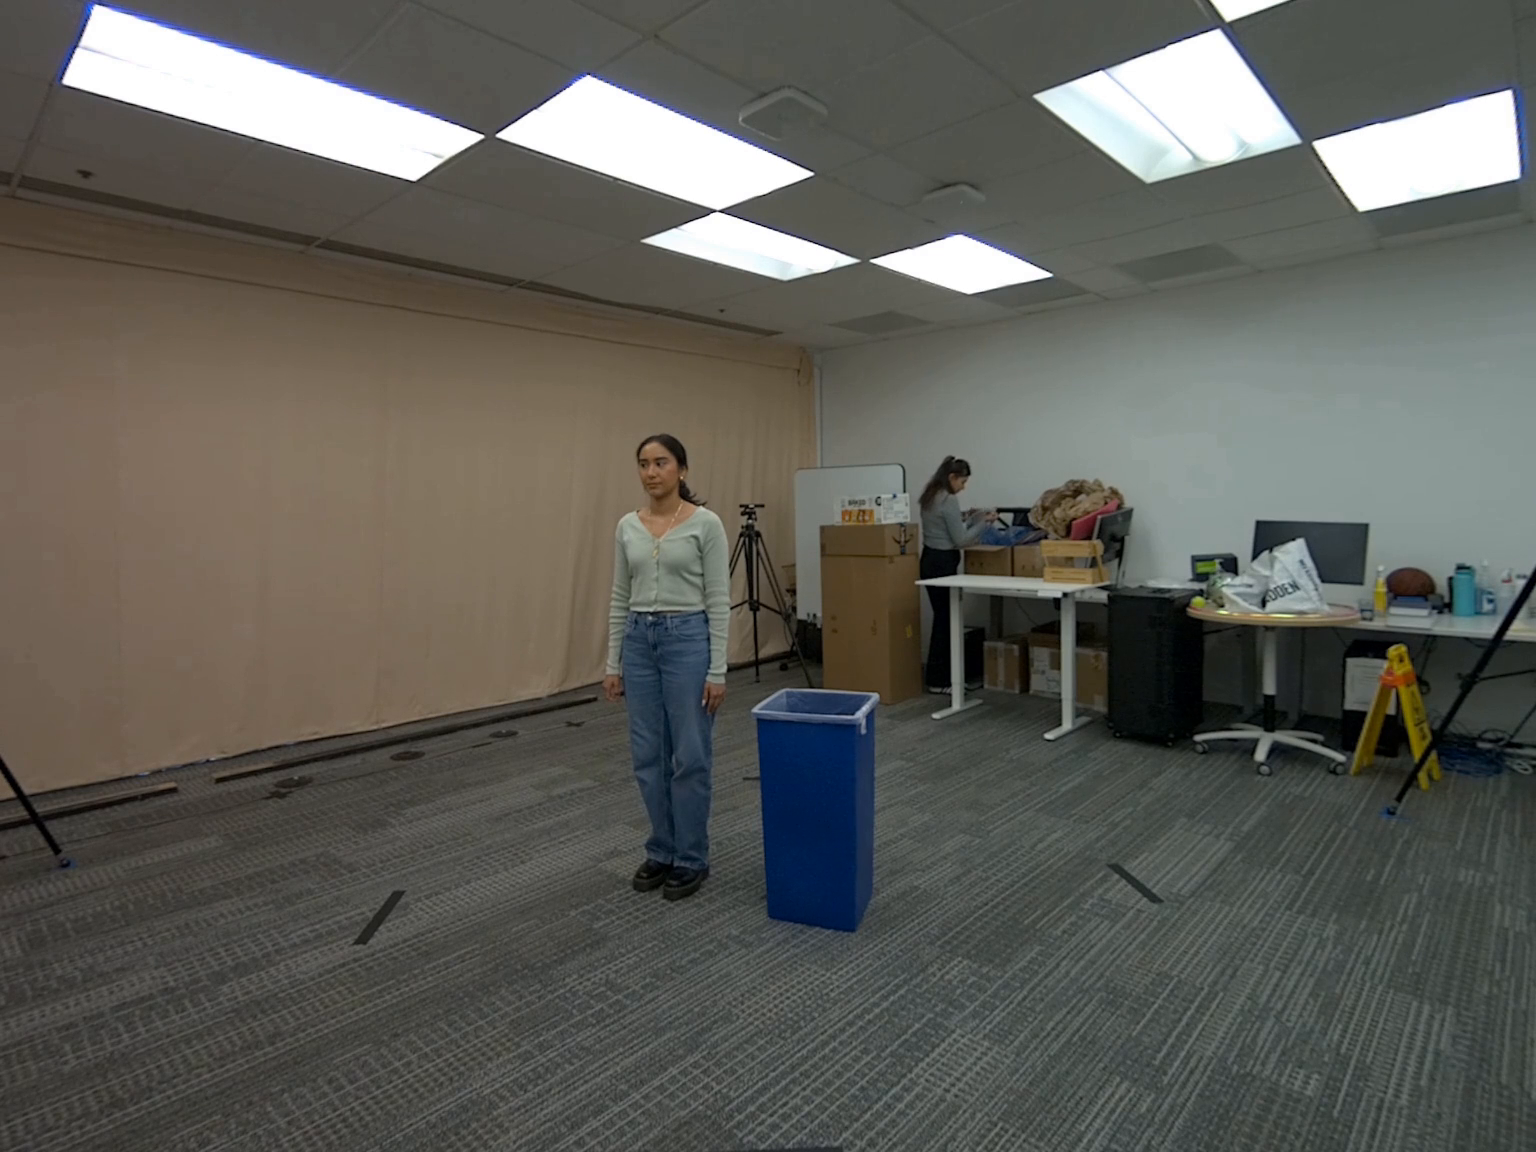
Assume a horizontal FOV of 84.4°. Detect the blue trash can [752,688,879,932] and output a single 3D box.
[{"bbox_3d":[0.174,0.786,2.898,0.382,0.712,0.371,0,3,20],"label":"blue trash can"}]
